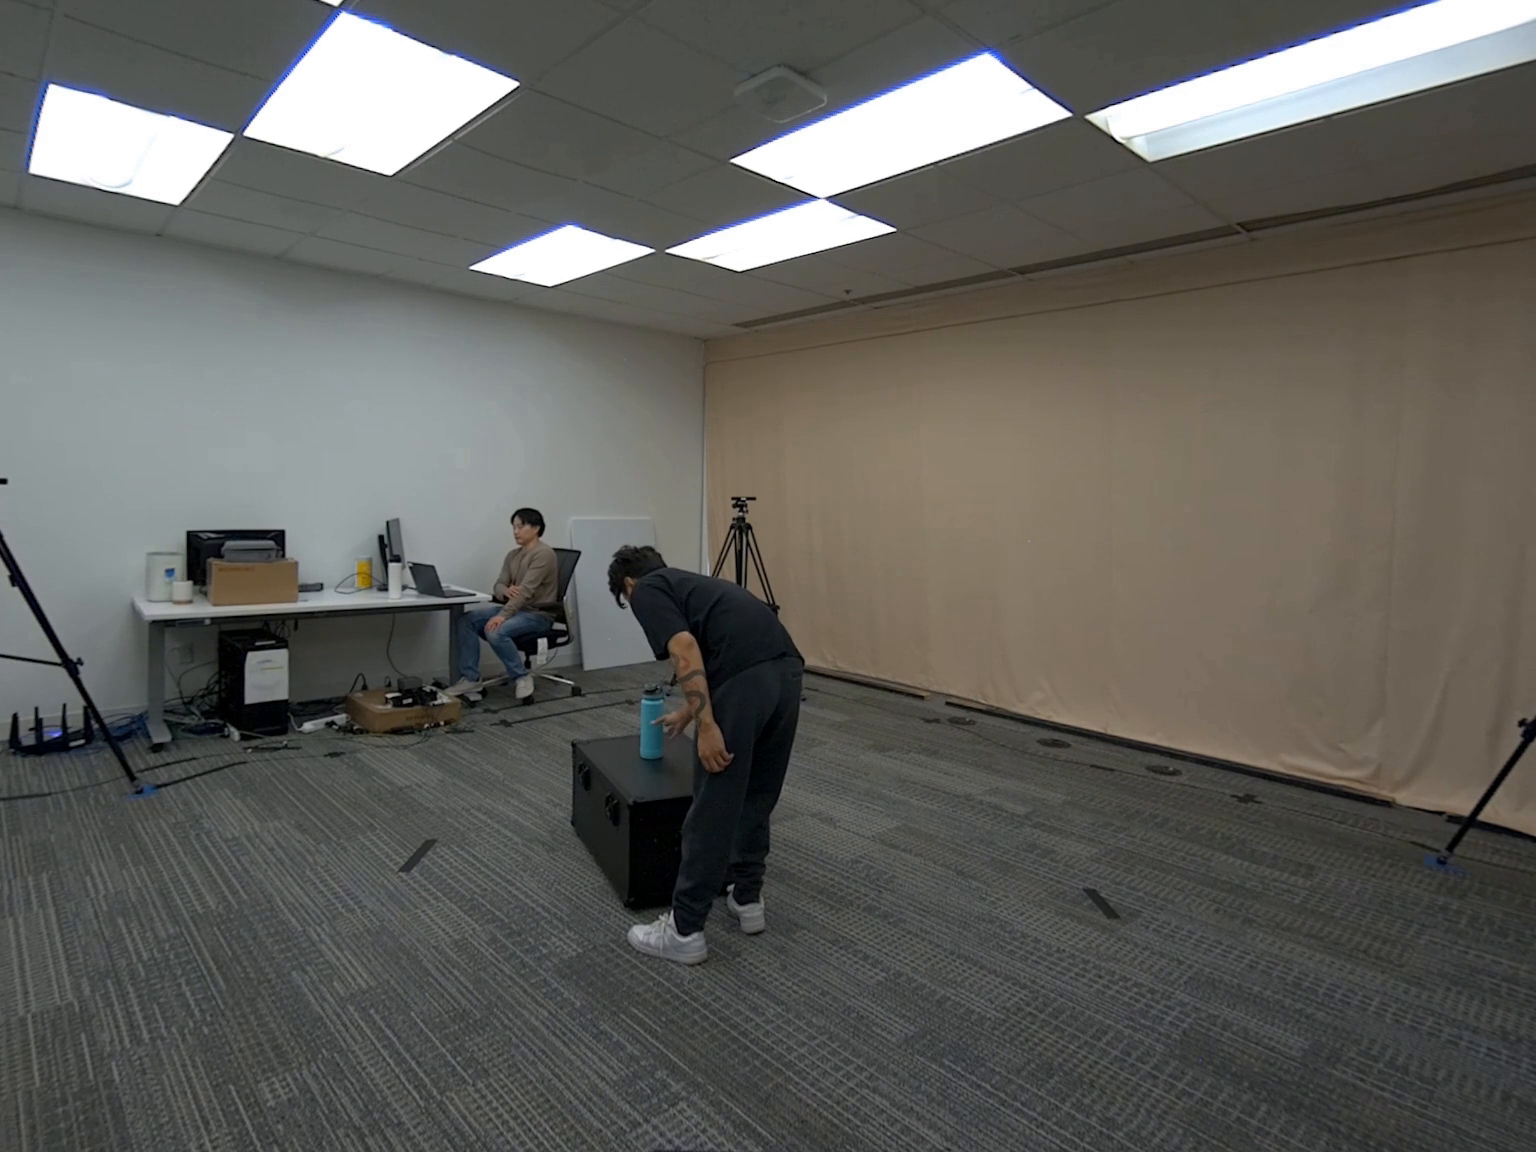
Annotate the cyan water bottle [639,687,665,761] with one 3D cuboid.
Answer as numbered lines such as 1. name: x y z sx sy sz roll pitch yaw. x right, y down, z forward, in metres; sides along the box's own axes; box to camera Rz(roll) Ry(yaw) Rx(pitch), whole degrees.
1. cyan water bottle: -0.460 0.569 3.306 0.092 0.283 0.092 2 2 -1
